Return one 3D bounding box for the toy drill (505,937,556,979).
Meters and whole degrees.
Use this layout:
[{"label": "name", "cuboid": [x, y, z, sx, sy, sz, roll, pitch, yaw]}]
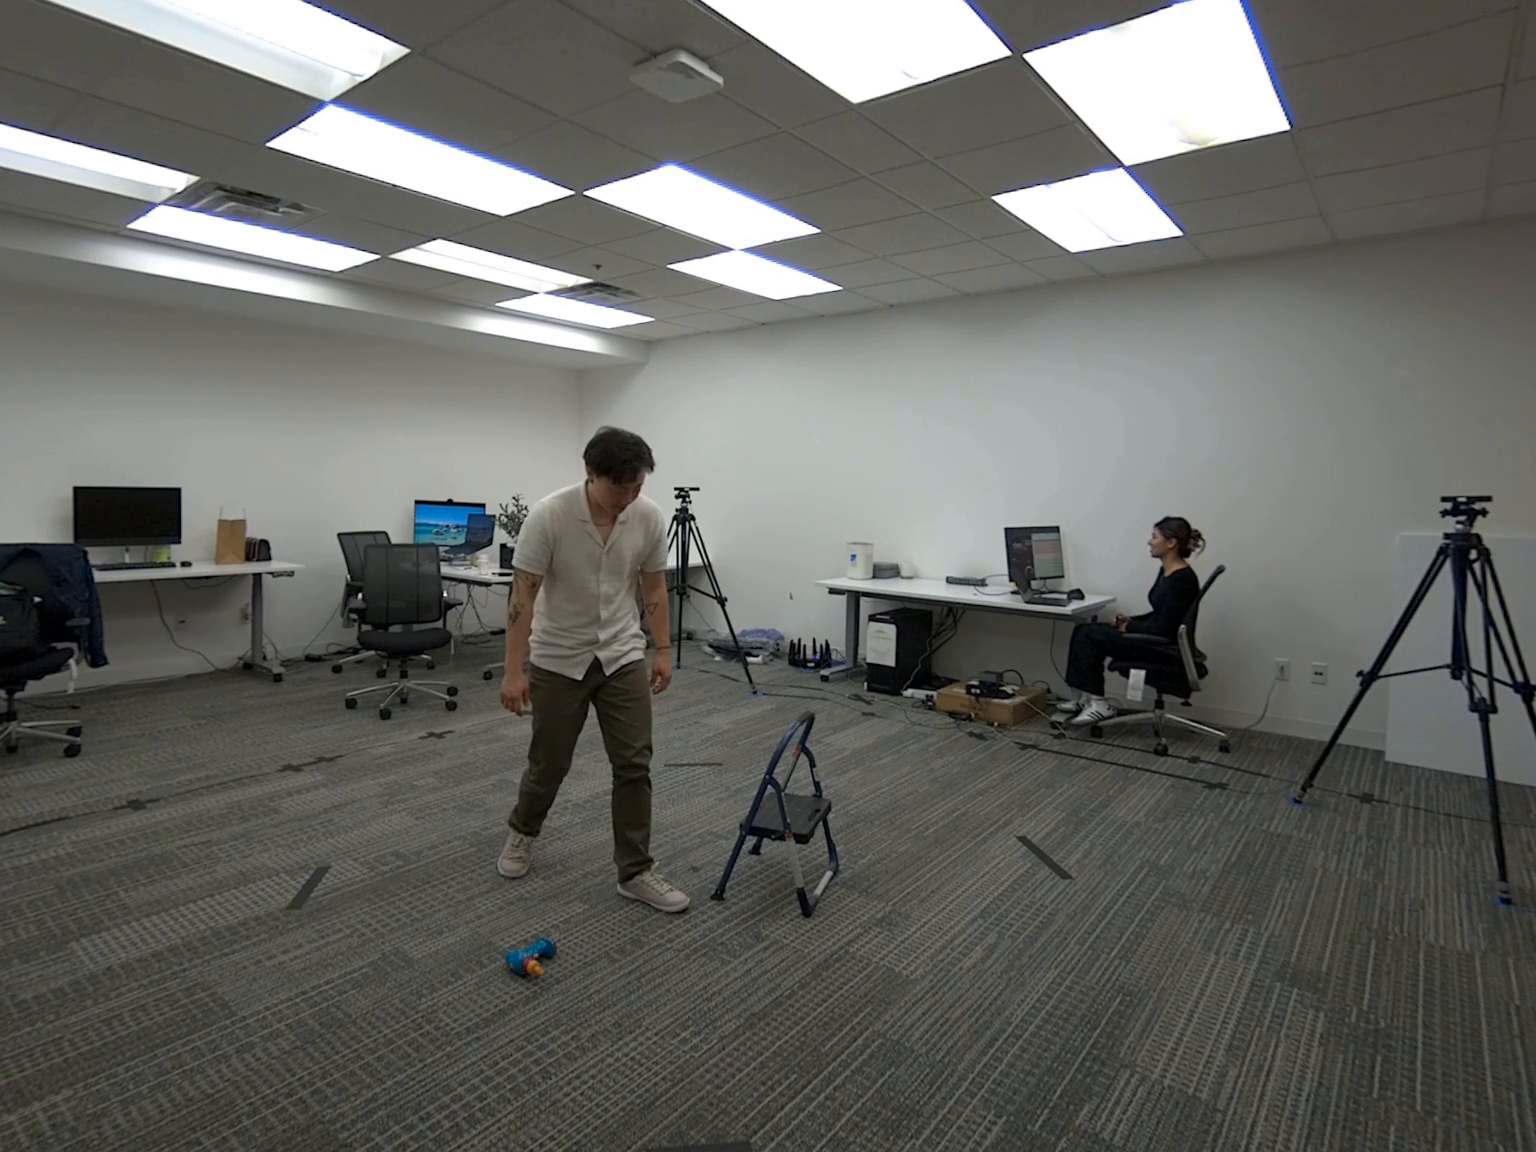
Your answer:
[{"label": "toy drill", "cuboid": [-0.681, 1.100, 2.435, 0.175, 0.061, 0.141, -3, 1, 42]}]
